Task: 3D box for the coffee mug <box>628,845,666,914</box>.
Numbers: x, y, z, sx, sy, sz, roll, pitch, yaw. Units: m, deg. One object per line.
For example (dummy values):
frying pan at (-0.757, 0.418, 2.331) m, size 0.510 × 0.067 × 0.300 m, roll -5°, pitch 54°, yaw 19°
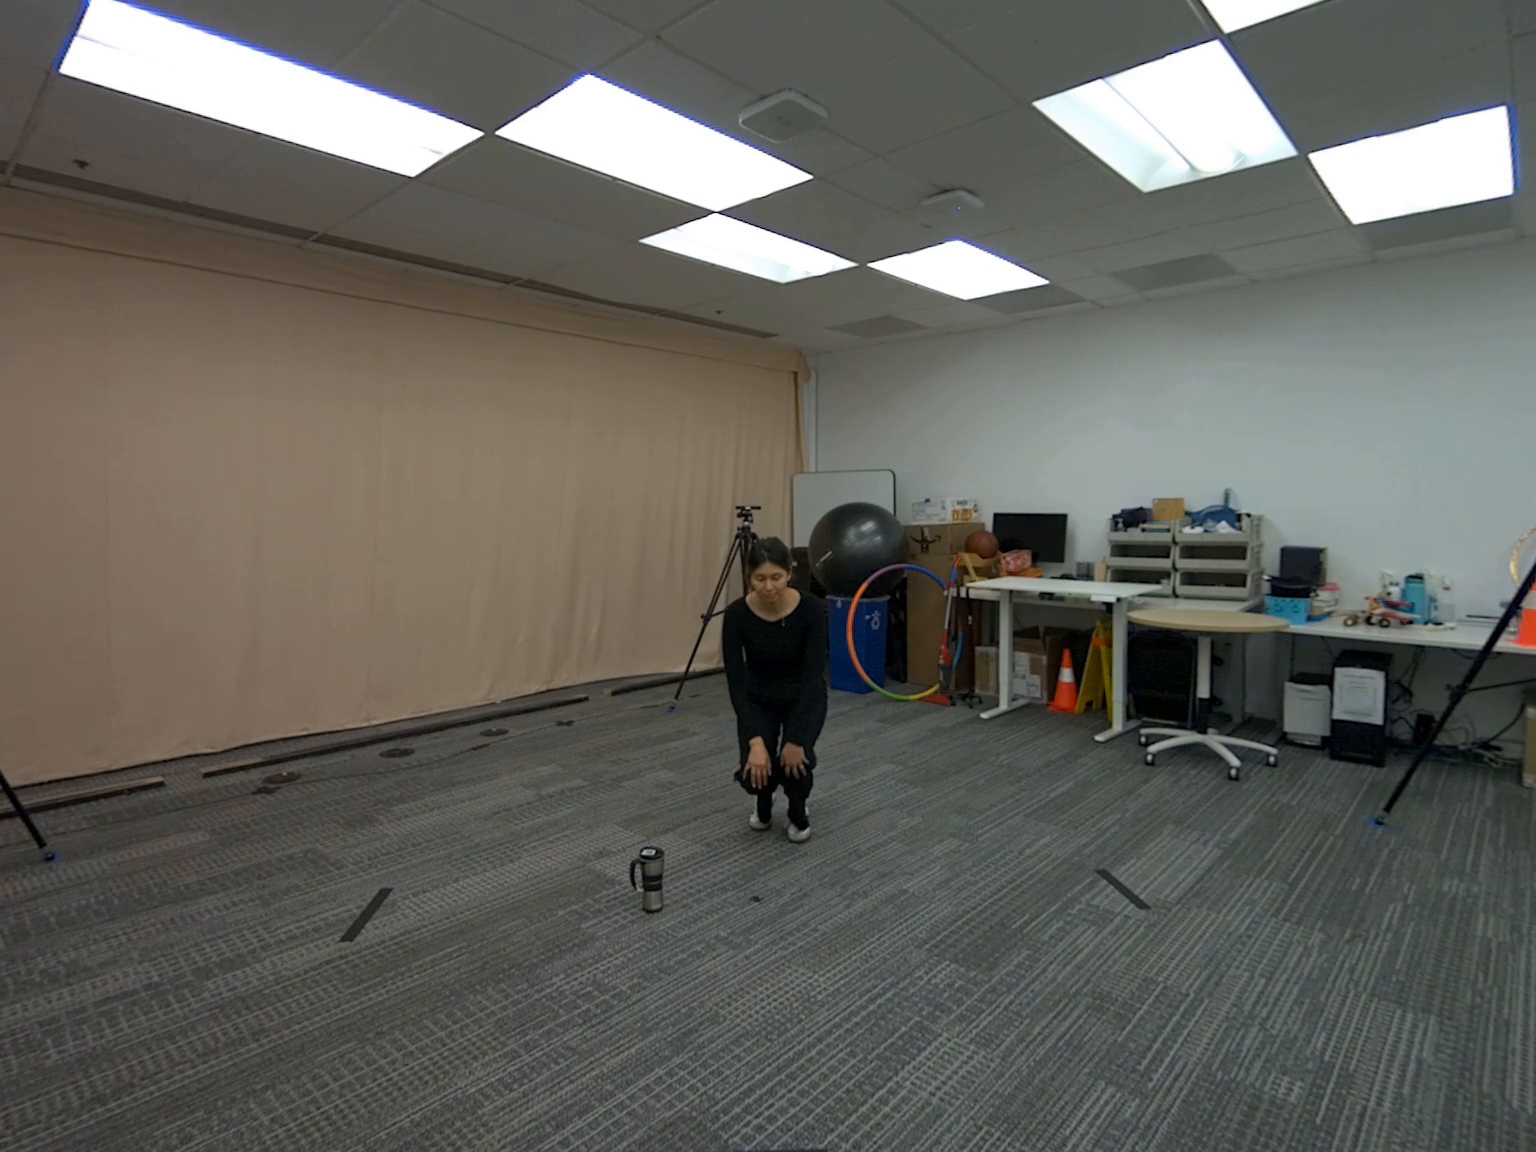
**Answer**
coffee mug at (-0.423, 1.054, 2.907) m, size 0.121 × 0.202 × 0.088 m, roll 2°, pitch 4°, yaw -5°
